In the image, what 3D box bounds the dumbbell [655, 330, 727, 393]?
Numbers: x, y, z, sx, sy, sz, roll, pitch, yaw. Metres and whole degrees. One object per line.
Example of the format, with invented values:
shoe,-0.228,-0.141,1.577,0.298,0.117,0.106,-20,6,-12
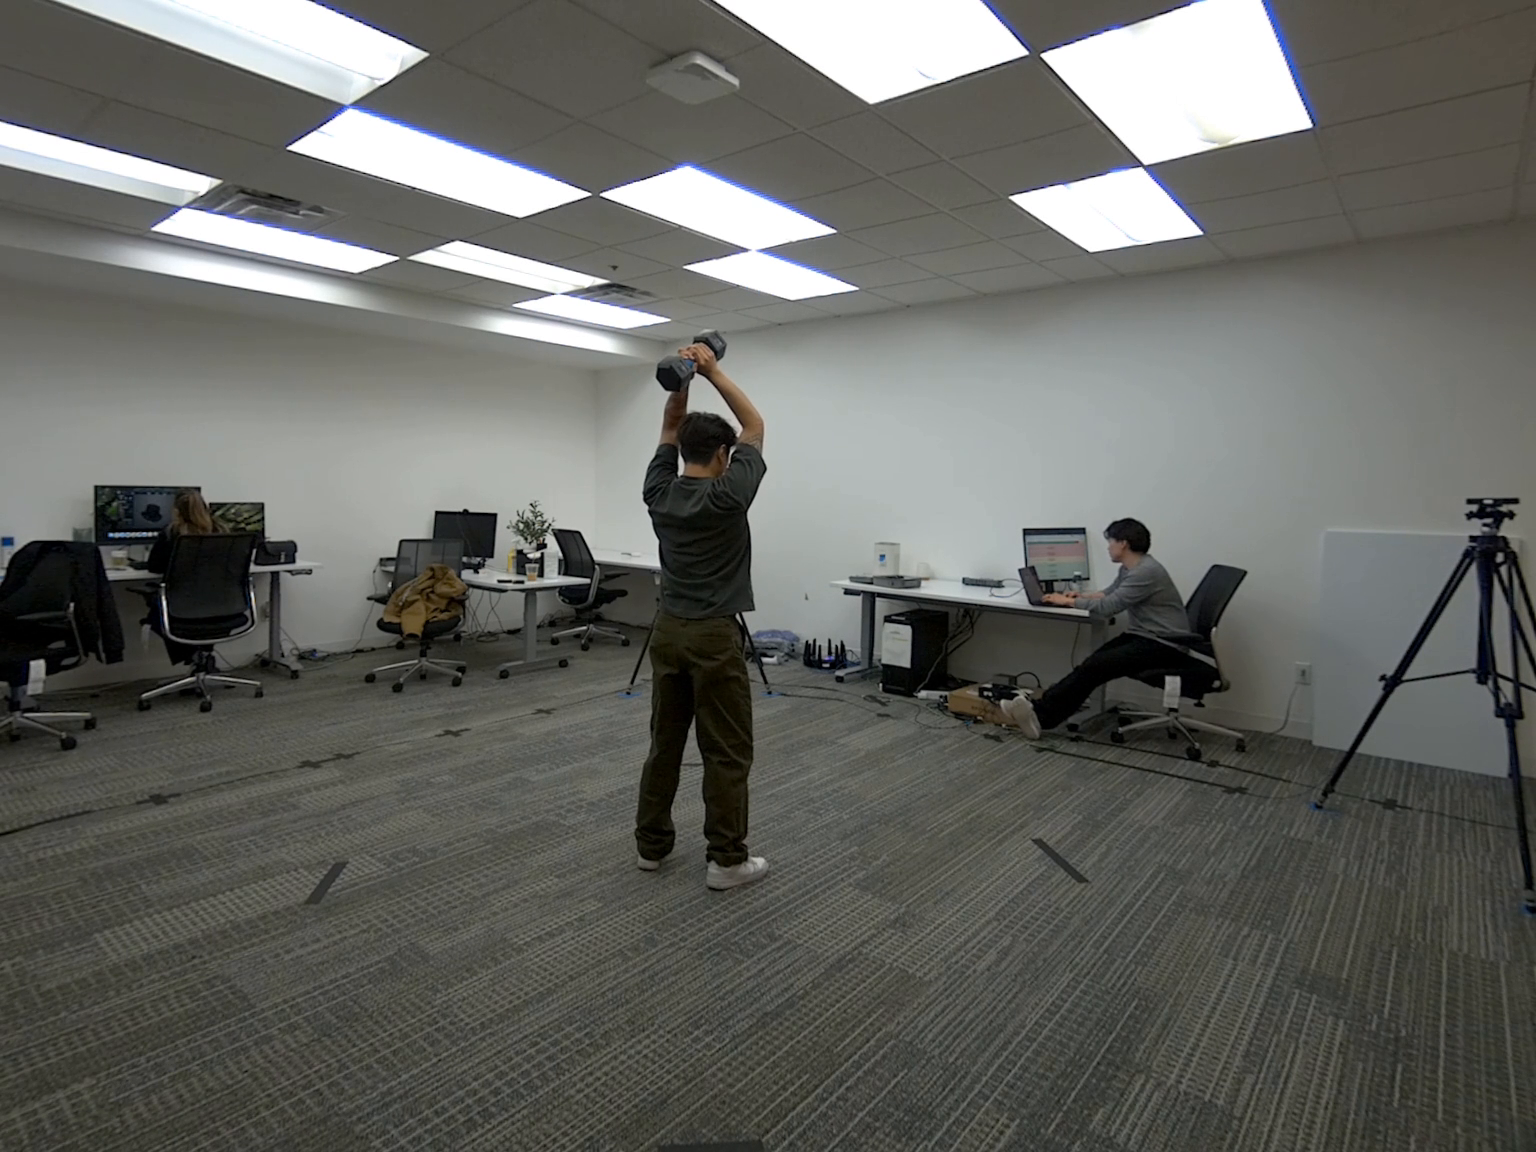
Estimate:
dumbbell,-0.276,-0.768,3.011,0.293,0.121,0.110,-49,12,-36
